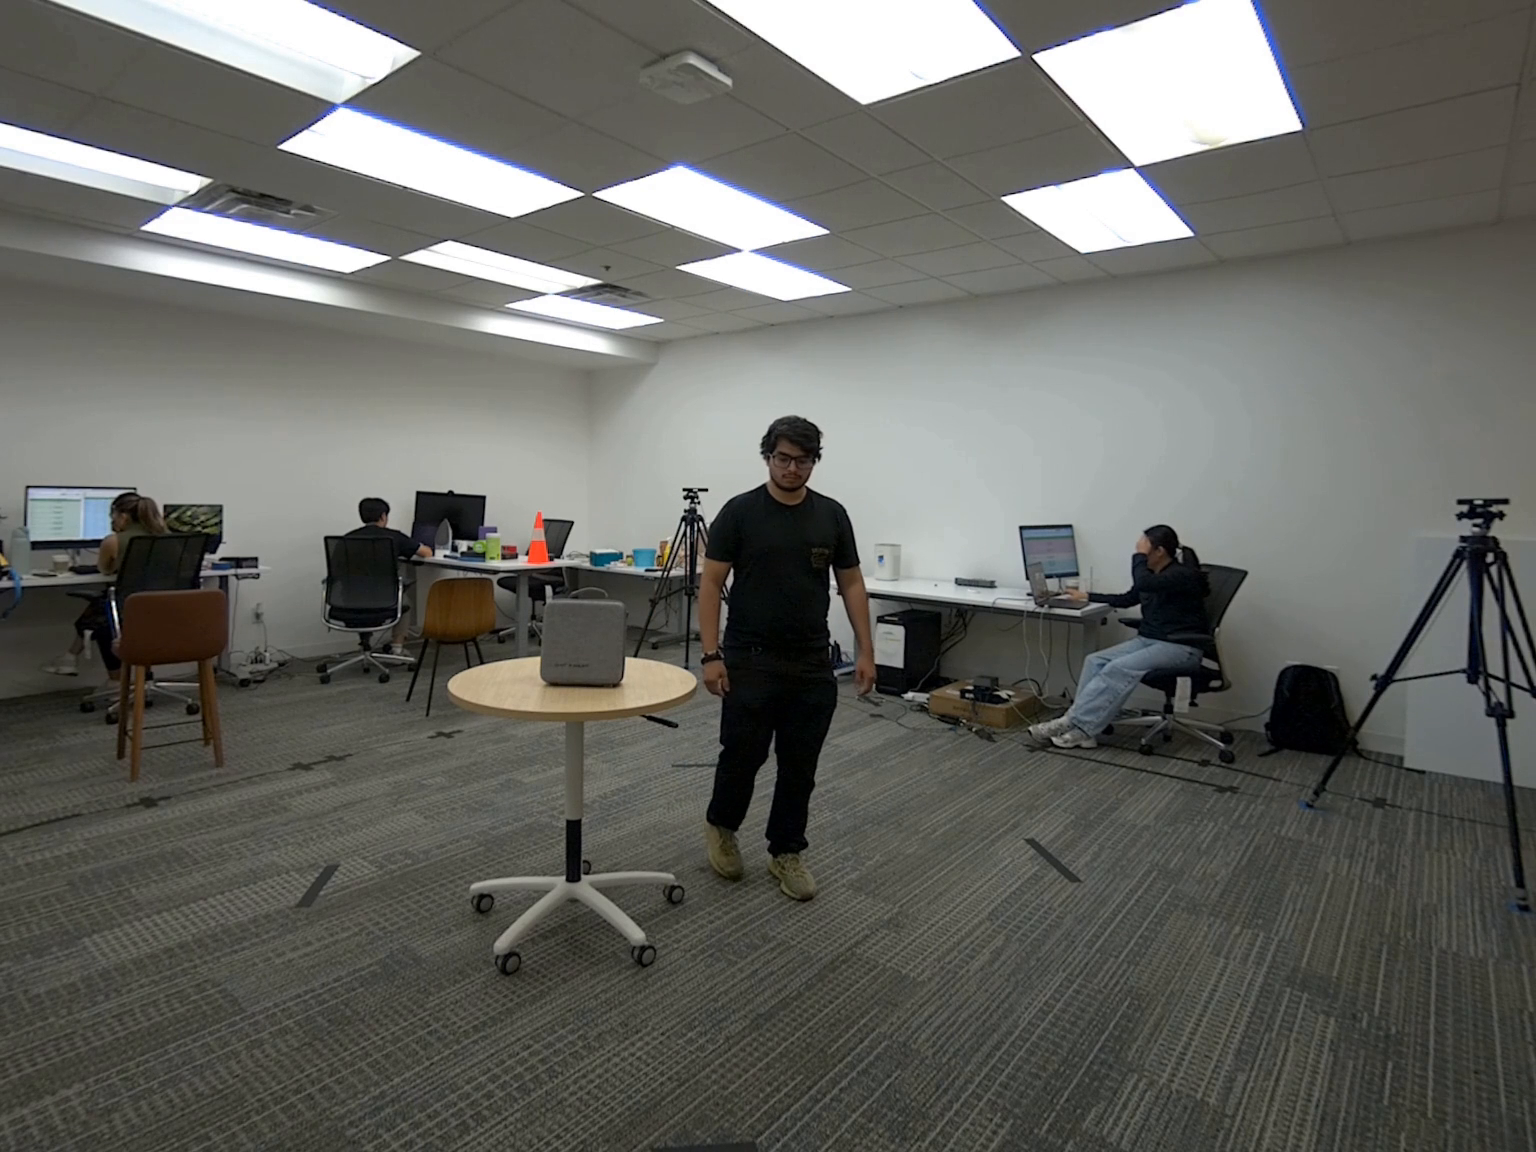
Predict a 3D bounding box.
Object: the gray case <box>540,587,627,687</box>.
[{"bbox_3d":[-0.579,0.202,2.621,0.257,0.262,0.103,3,-7,1],"label":"gray case"}]
